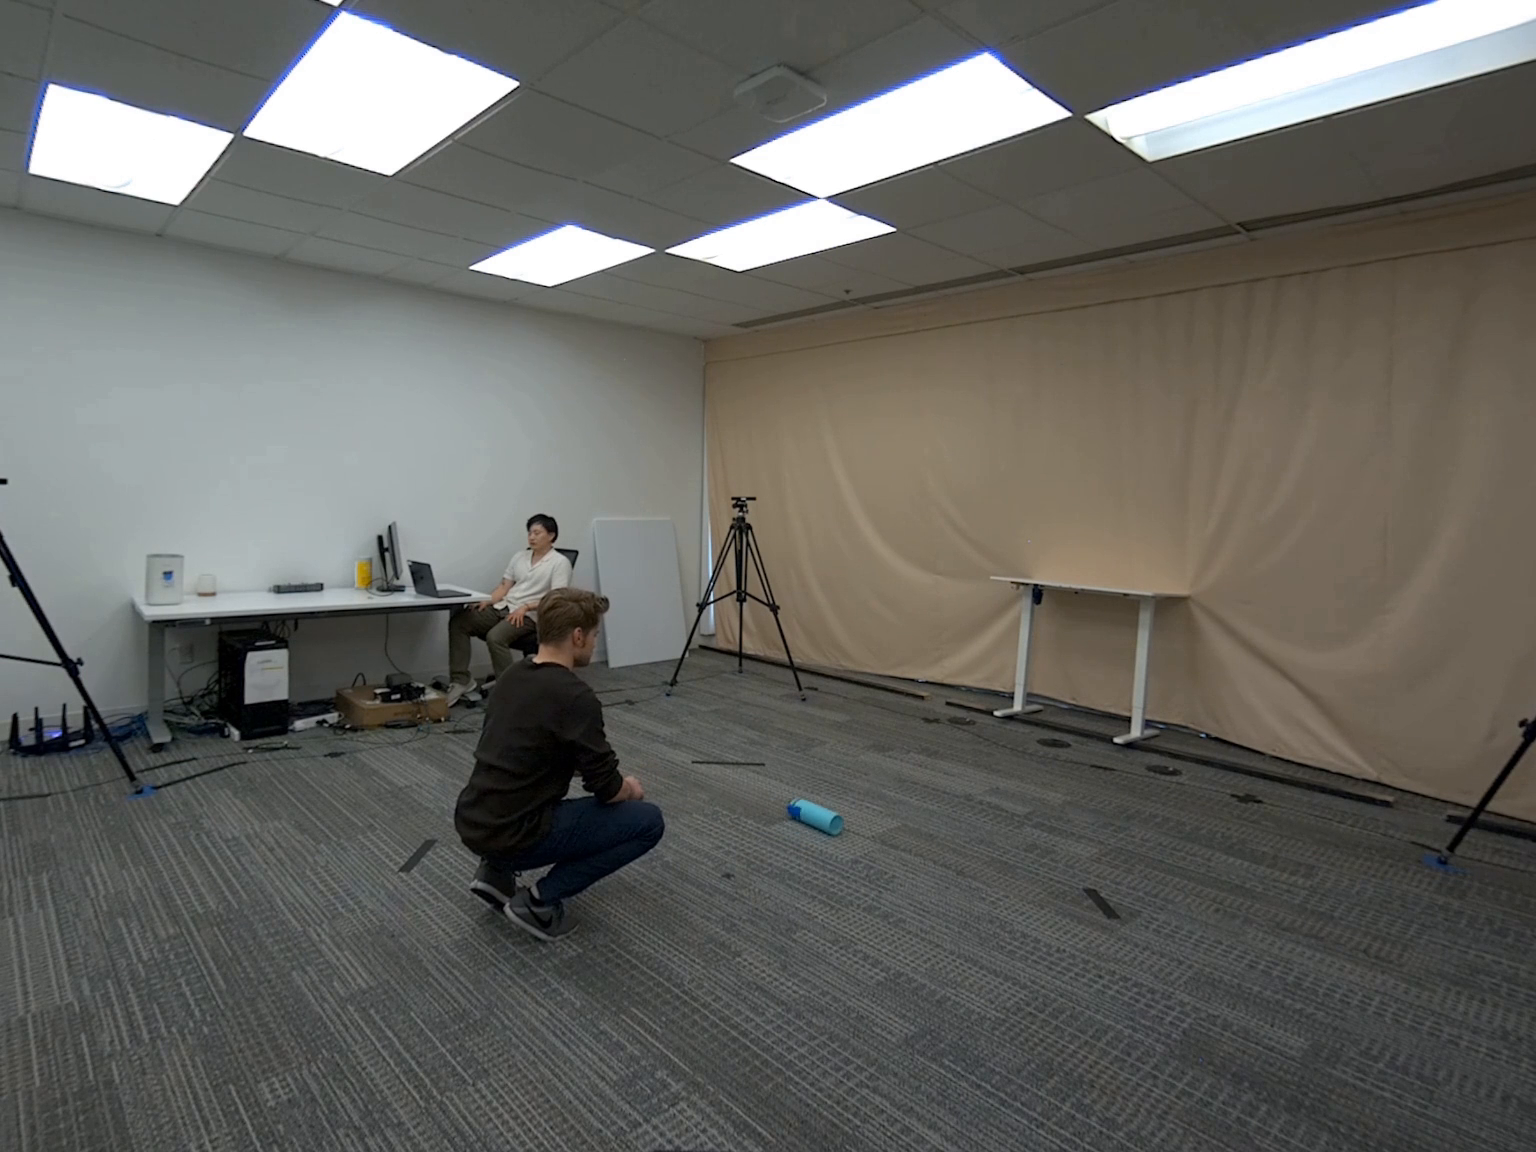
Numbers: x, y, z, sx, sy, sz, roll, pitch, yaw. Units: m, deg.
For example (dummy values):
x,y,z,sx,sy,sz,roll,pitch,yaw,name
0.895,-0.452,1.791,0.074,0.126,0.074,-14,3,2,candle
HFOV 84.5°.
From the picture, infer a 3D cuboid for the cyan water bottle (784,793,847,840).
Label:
x,y,z,sx,sy,sz,roll,pitch,yaw,name
0.196,1.022,3.616,0.090,0.092,0.290,-2,5,-39,cyan water bottle
